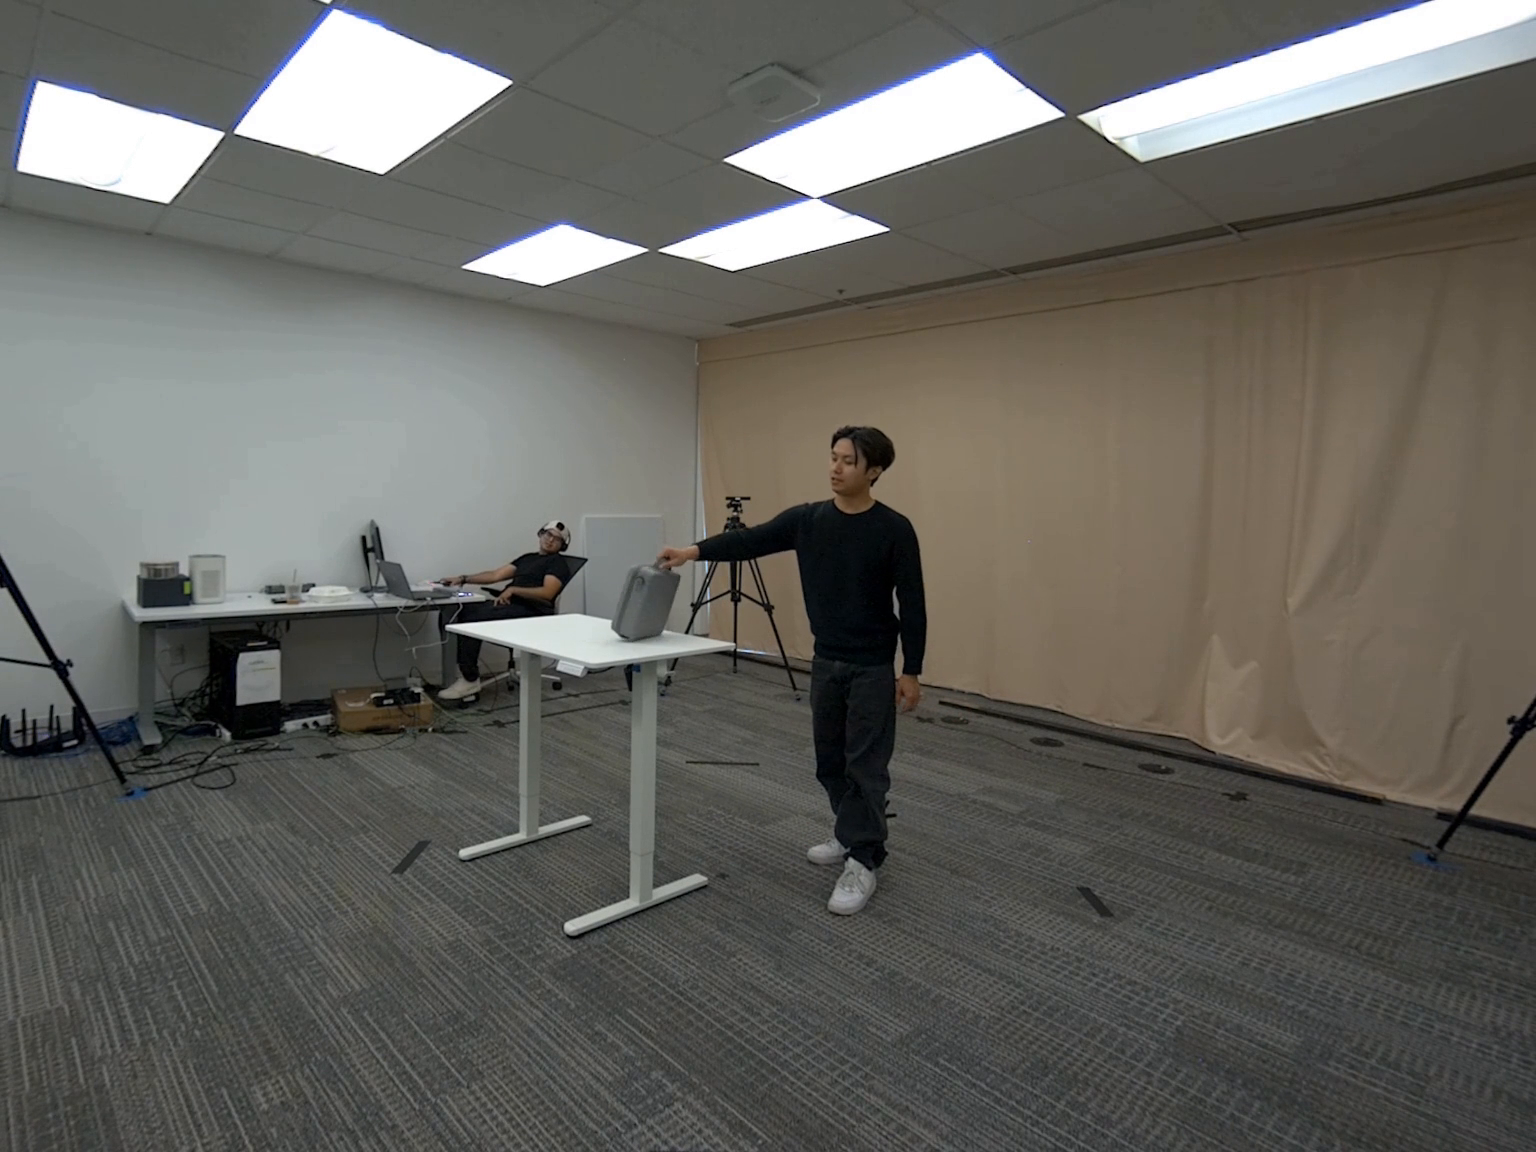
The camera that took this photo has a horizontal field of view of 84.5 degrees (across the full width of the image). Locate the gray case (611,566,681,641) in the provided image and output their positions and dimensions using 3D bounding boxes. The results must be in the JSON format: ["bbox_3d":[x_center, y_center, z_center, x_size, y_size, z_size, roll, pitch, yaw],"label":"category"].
[{"bbox_3d":[-0.428,0.084,3.012,0.106,0.260,0.252,17,4,19],"label":"gray case"}]
